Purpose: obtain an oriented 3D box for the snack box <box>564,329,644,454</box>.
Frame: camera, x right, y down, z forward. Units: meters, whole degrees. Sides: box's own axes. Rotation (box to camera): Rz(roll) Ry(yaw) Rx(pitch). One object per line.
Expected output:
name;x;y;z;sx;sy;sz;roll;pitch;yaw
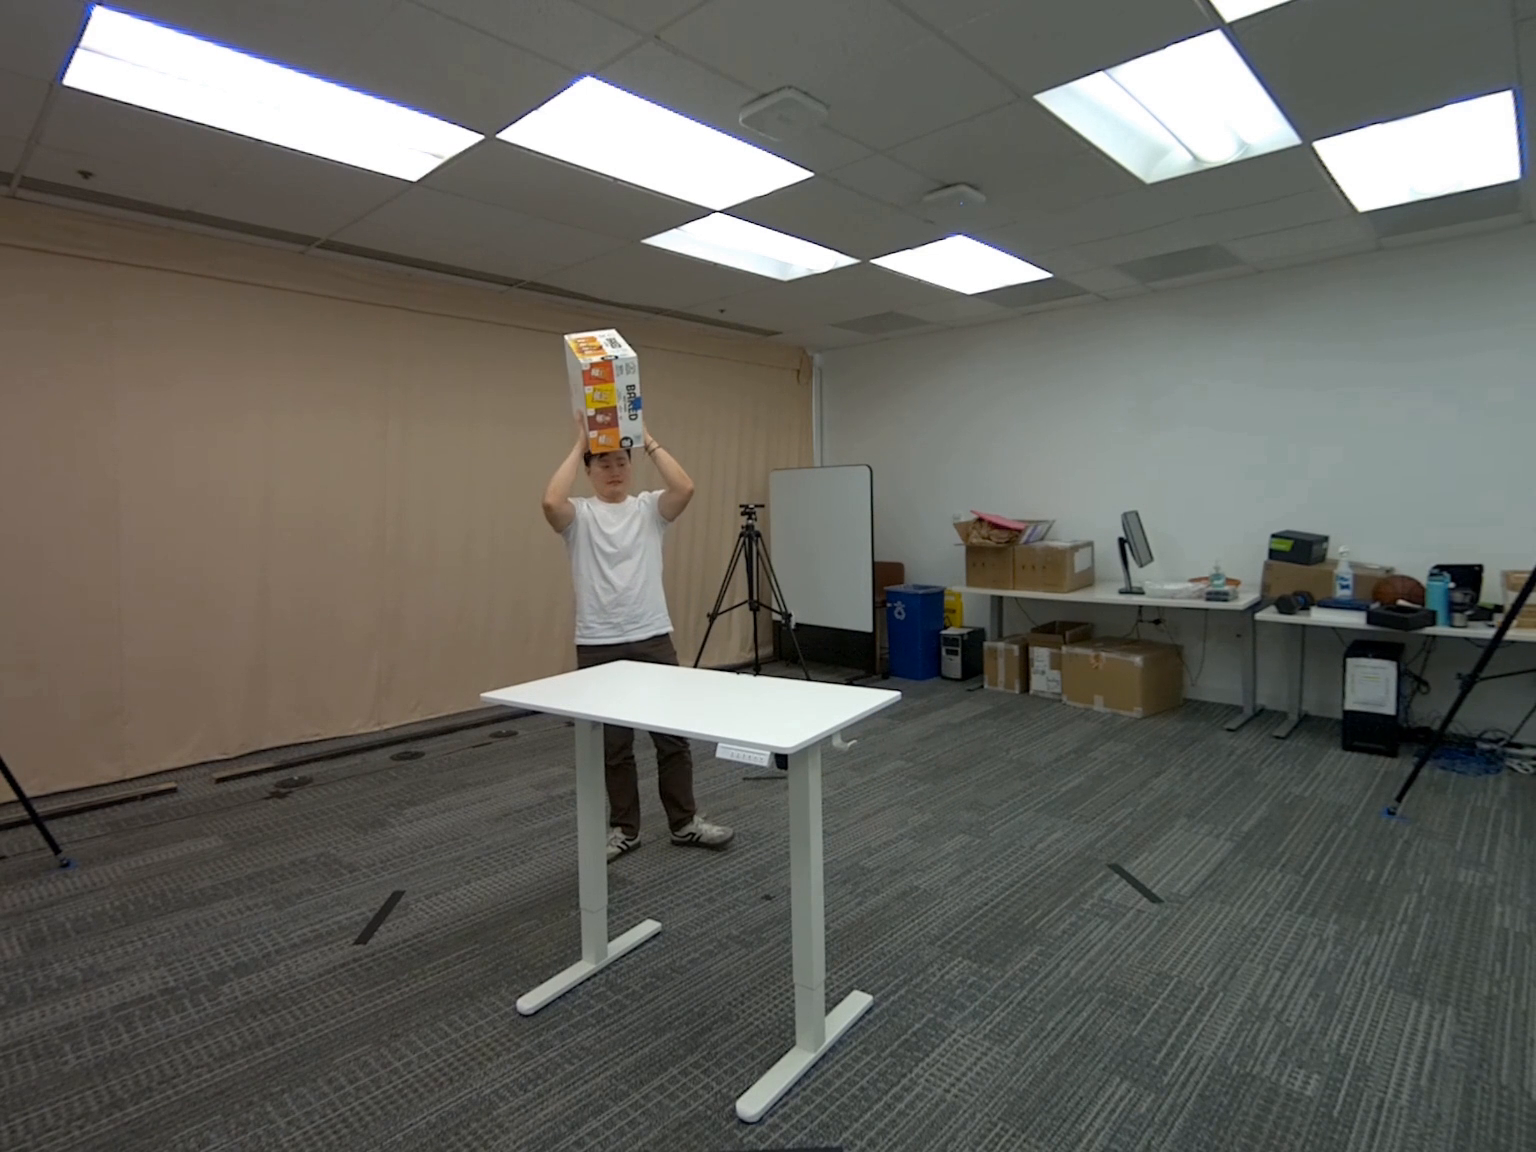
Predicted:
snack box;-0.615;-0.707;3.183;0.203;0.335;0.418;-10;31;-16
